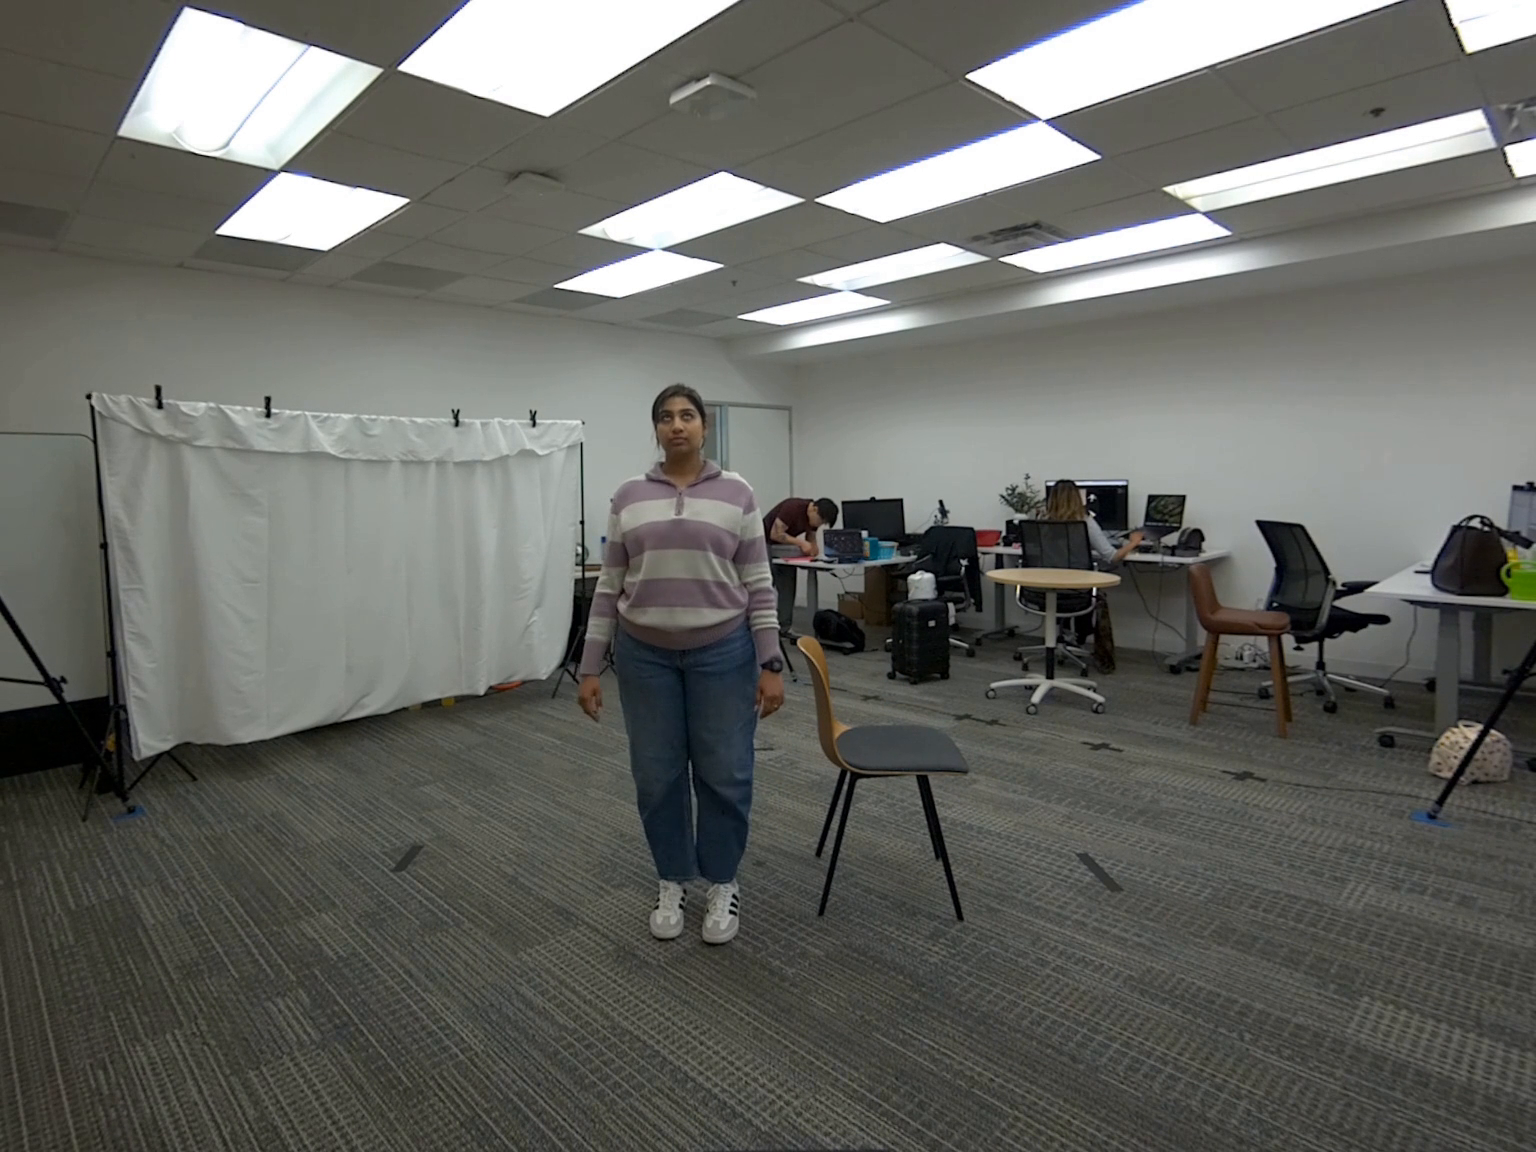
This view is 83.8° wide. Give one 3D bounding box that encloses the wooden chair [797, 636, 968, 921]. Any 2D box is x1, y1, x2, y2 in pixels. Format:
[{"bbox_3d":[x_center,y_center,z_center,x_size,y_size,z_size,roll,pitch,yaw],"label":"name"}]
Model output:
[{"bbox_3d":[0.397,0.634,2.899,0.525,0.875,0.477,-5,3,4],"label":"wooden chair"}]
